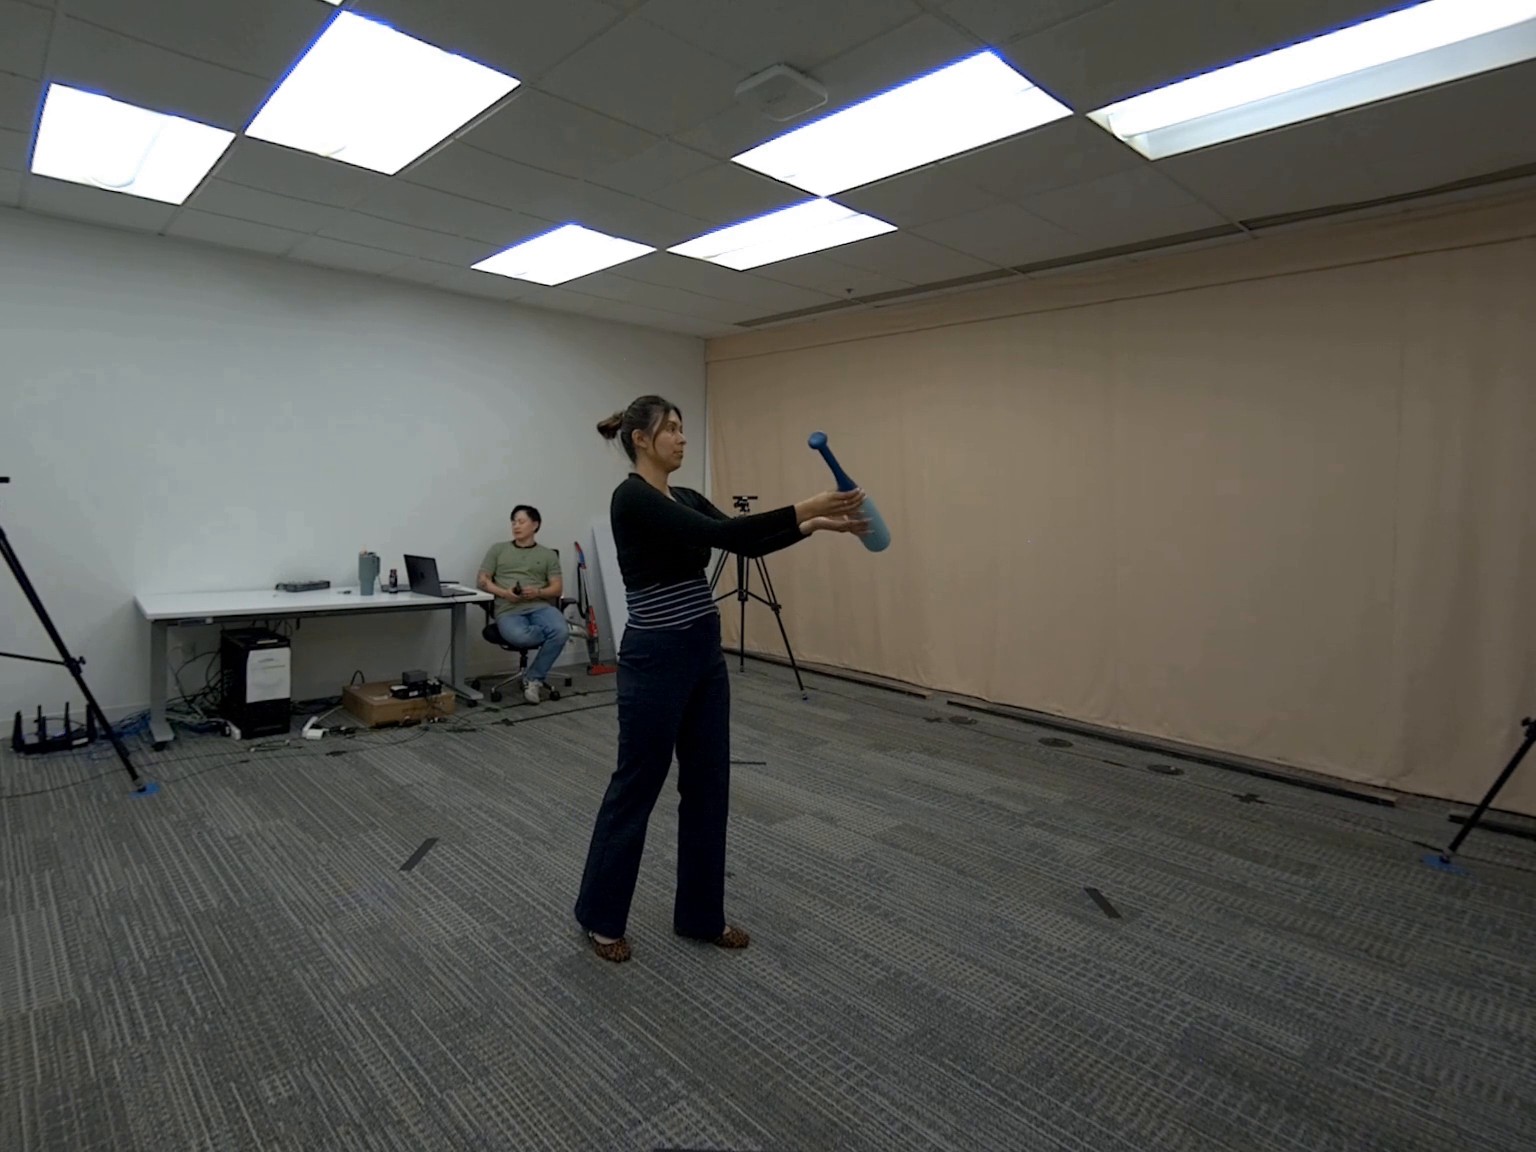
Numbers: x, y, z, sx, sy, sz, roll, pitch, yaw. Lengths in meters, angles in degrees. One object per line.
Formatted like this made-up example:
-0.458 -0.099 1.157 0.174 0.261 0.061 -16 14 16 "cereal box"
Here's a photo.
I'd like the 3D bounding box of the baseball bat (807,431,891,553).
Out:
0.213 -0.226 2.300 0.091 0.090 0.526 4 -26 25 "baseball bat"
